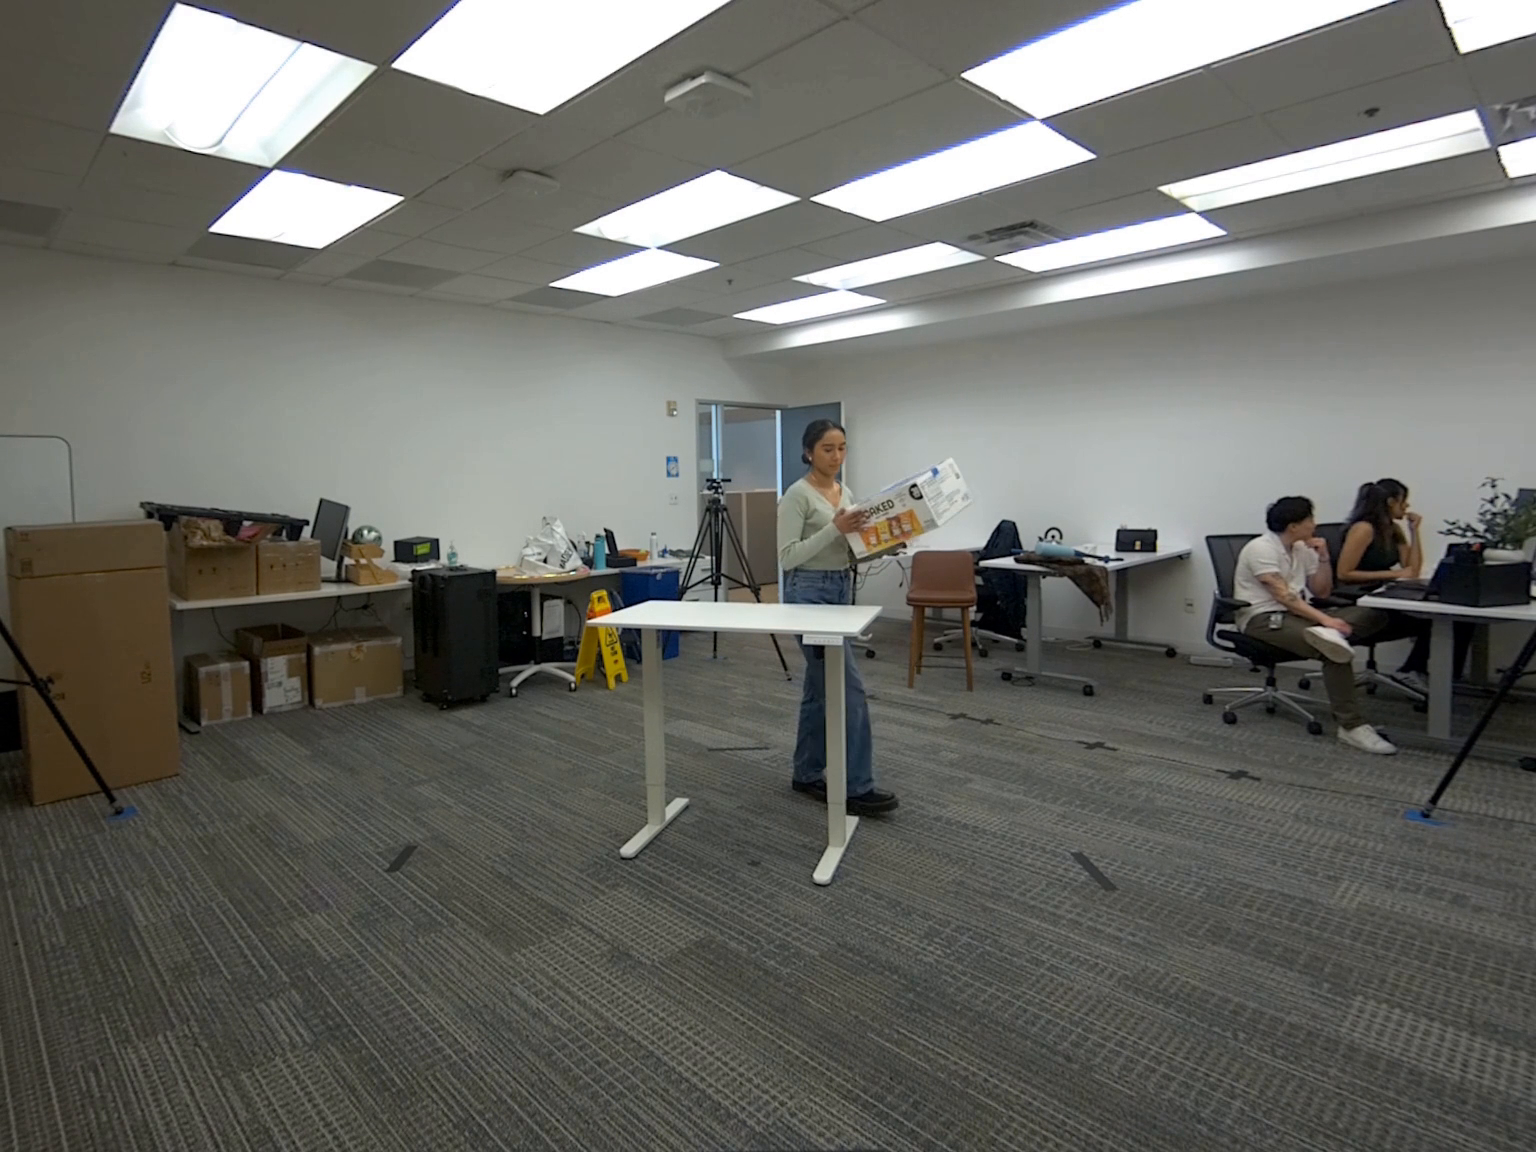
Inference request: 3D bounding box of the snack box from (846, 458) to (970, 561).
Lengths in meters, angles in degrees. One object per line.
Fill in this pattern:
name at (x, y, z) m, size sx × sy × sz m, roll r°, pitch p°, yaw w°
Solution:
snack box at (0.564, -0.269, 3.482) m, size 0.411 × 0.205 × 0.336 m, roll -23°, pitch 6°, yaw 42°
